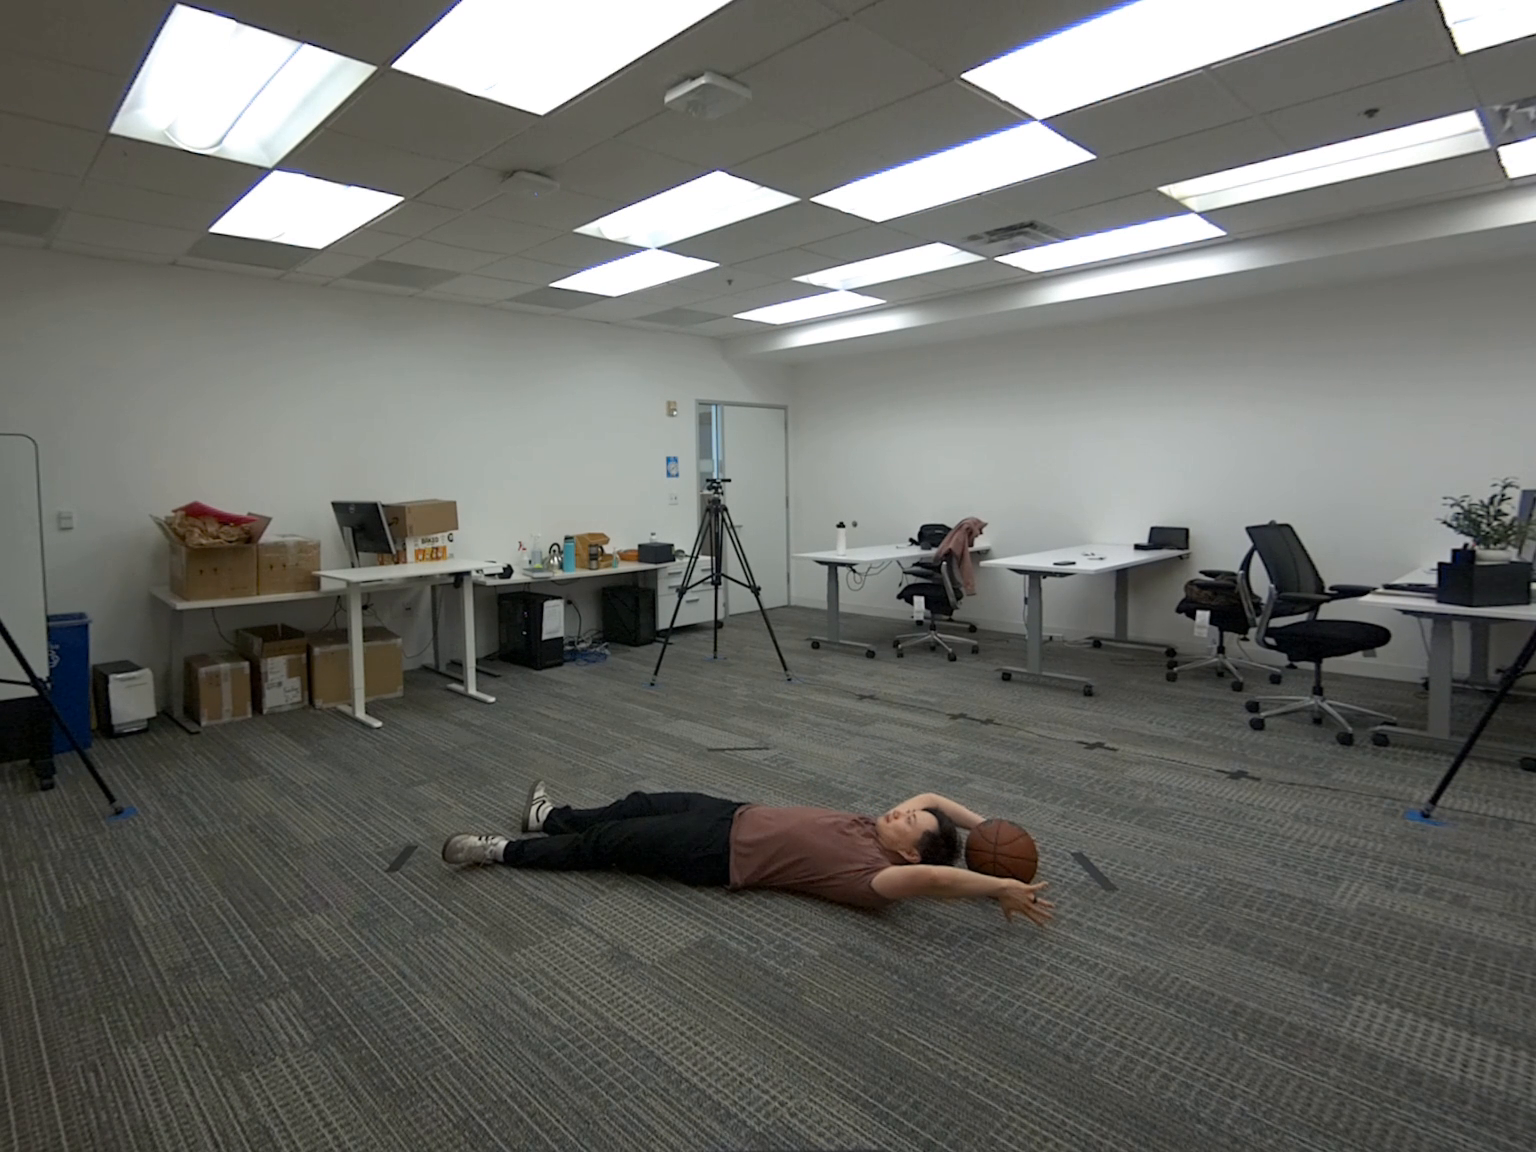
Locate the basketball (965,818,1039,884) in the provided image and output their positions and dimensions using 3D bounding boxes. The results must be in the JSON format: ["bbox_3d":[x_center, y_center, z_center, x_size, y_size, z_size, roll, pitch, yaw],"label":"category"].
[{"bbox_3d":[0.784,0.932,2.874,0.236,0.236,0.236,0,1,-2],"label":"basketball"}]
